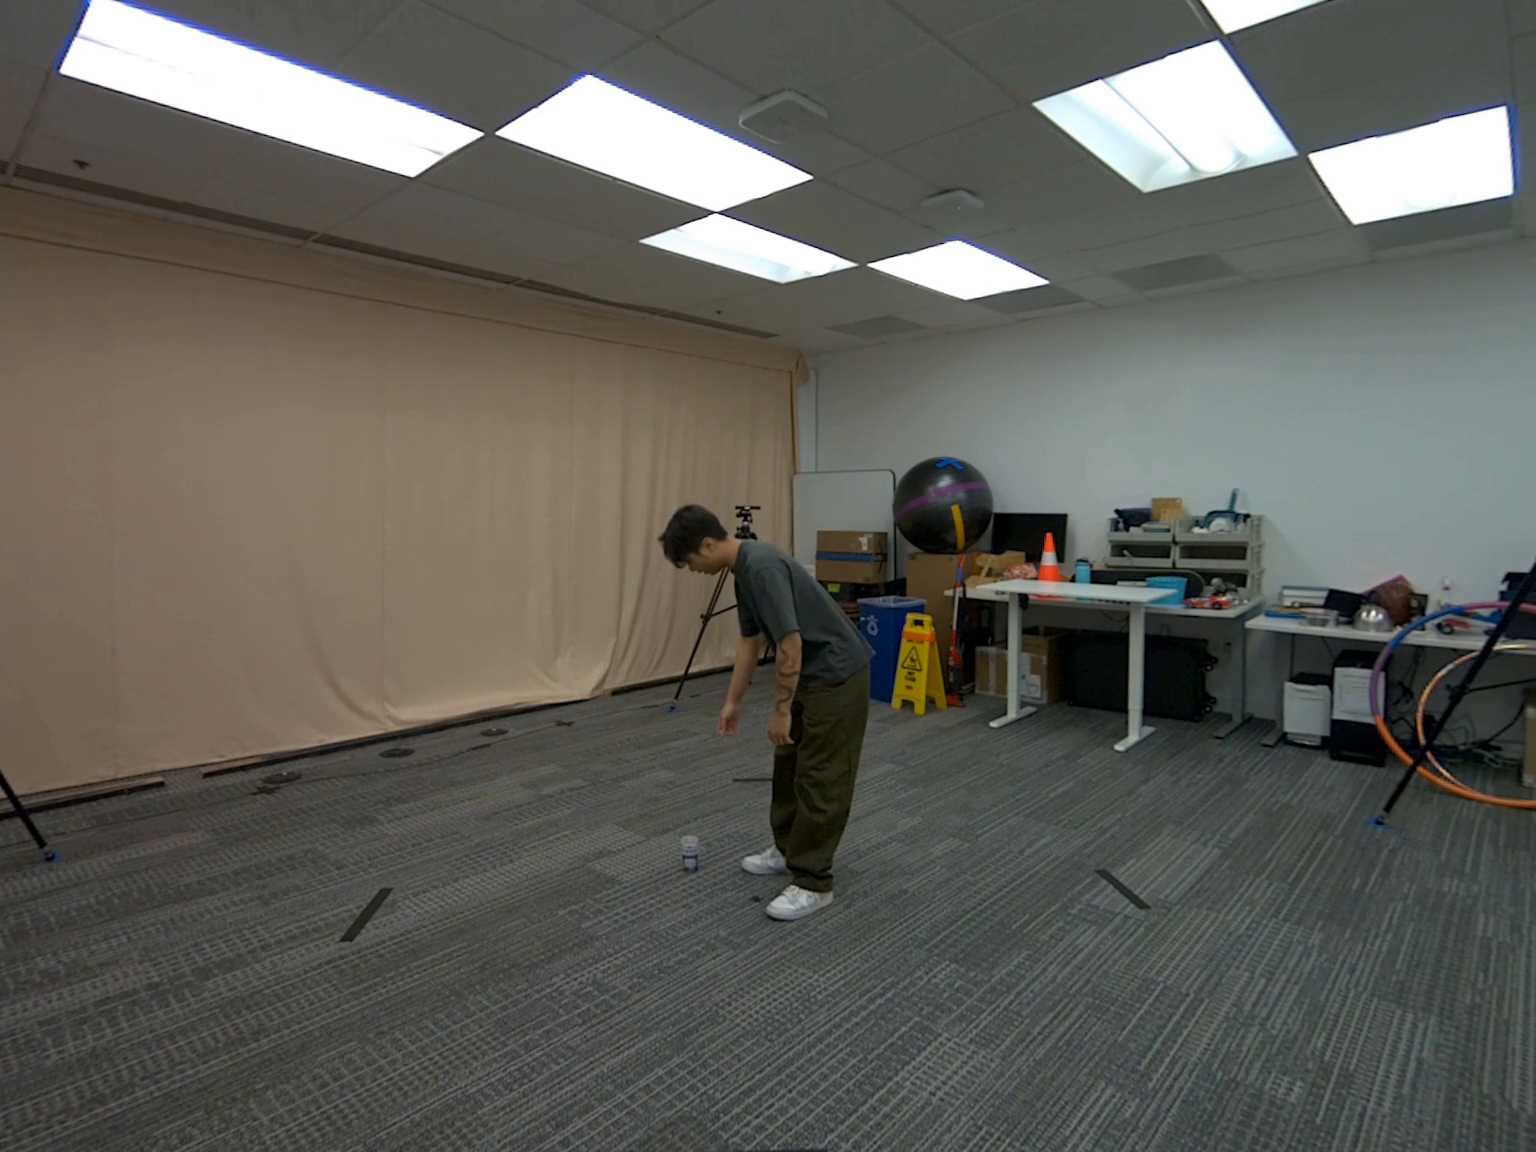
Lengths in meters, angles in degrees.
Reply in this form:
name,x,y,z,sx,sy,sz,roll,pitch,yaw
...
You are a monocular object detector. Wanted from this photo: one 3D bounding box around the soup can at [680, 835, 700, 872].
name,x,y,z,sx,sy,sz,roll,pitch,yaw
soup can,-0.294,1.070,3.229,0.067,0.121,0.067,0,2,-2
